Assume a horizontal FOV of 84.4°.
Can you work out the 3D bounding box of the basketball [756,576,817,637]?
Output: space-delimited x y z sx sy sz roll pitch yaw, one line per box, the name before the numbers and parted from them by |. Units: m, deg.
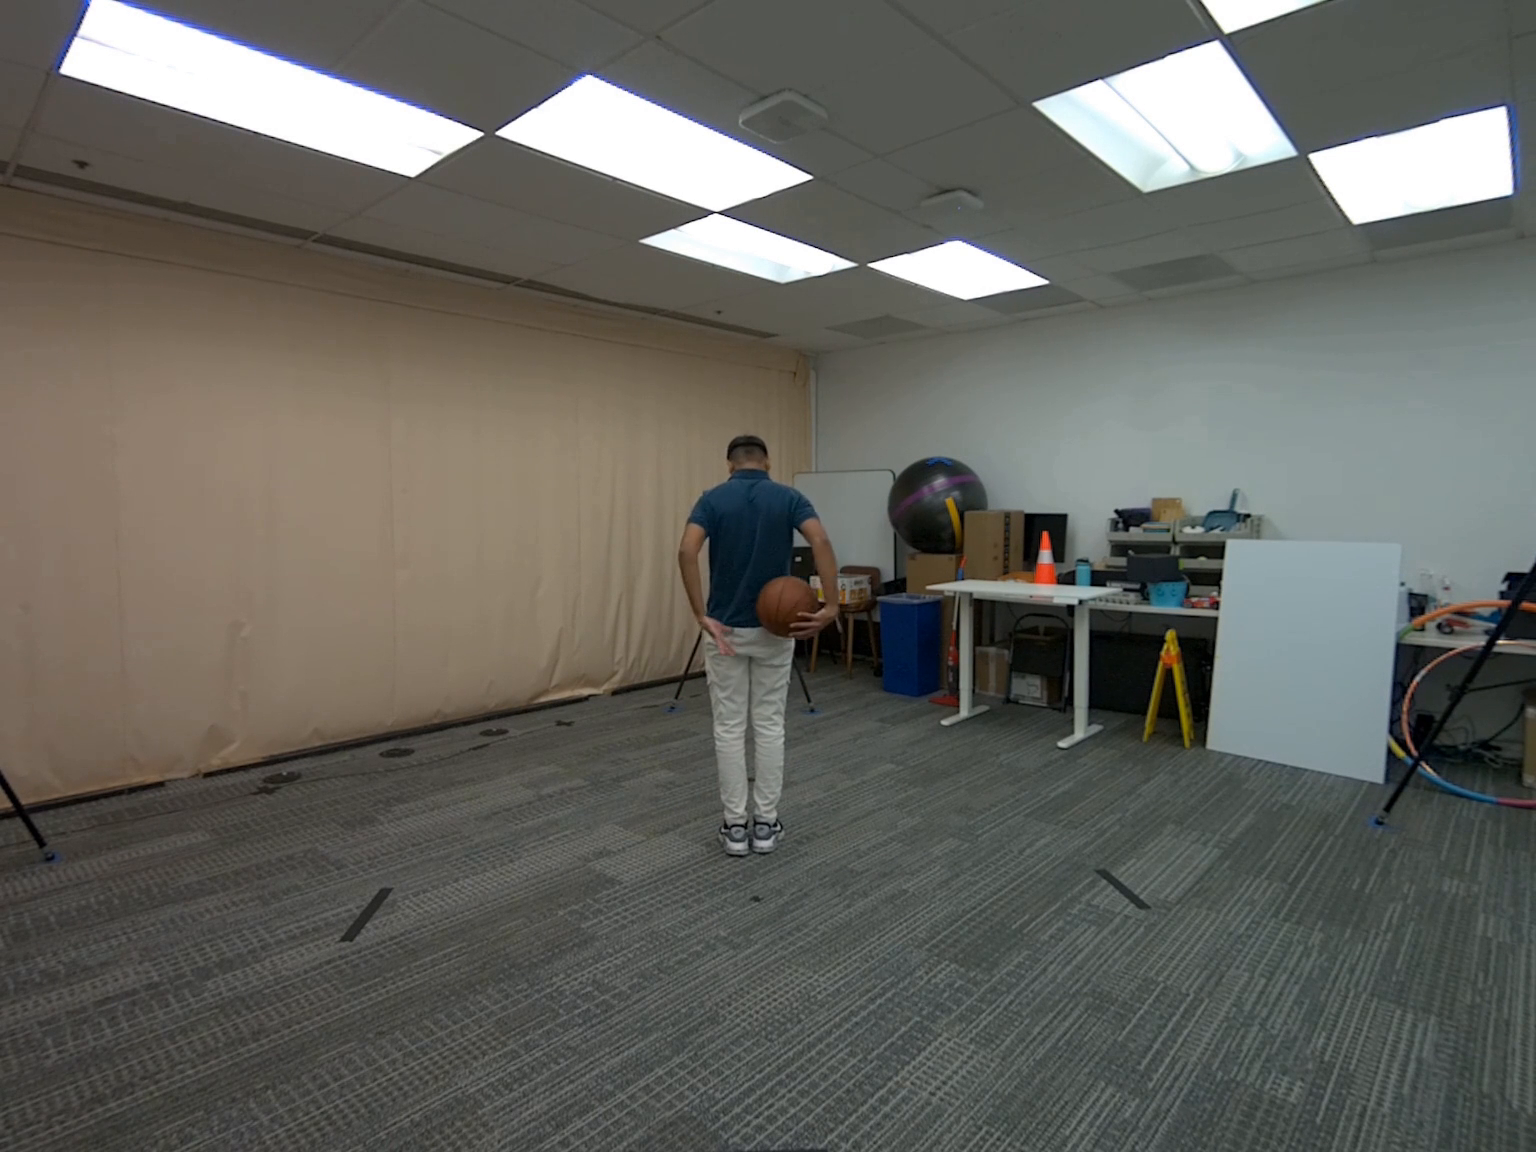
basketball | 0.077 0.106 3.270 0.236 0.235 0.237 0 4 -2
